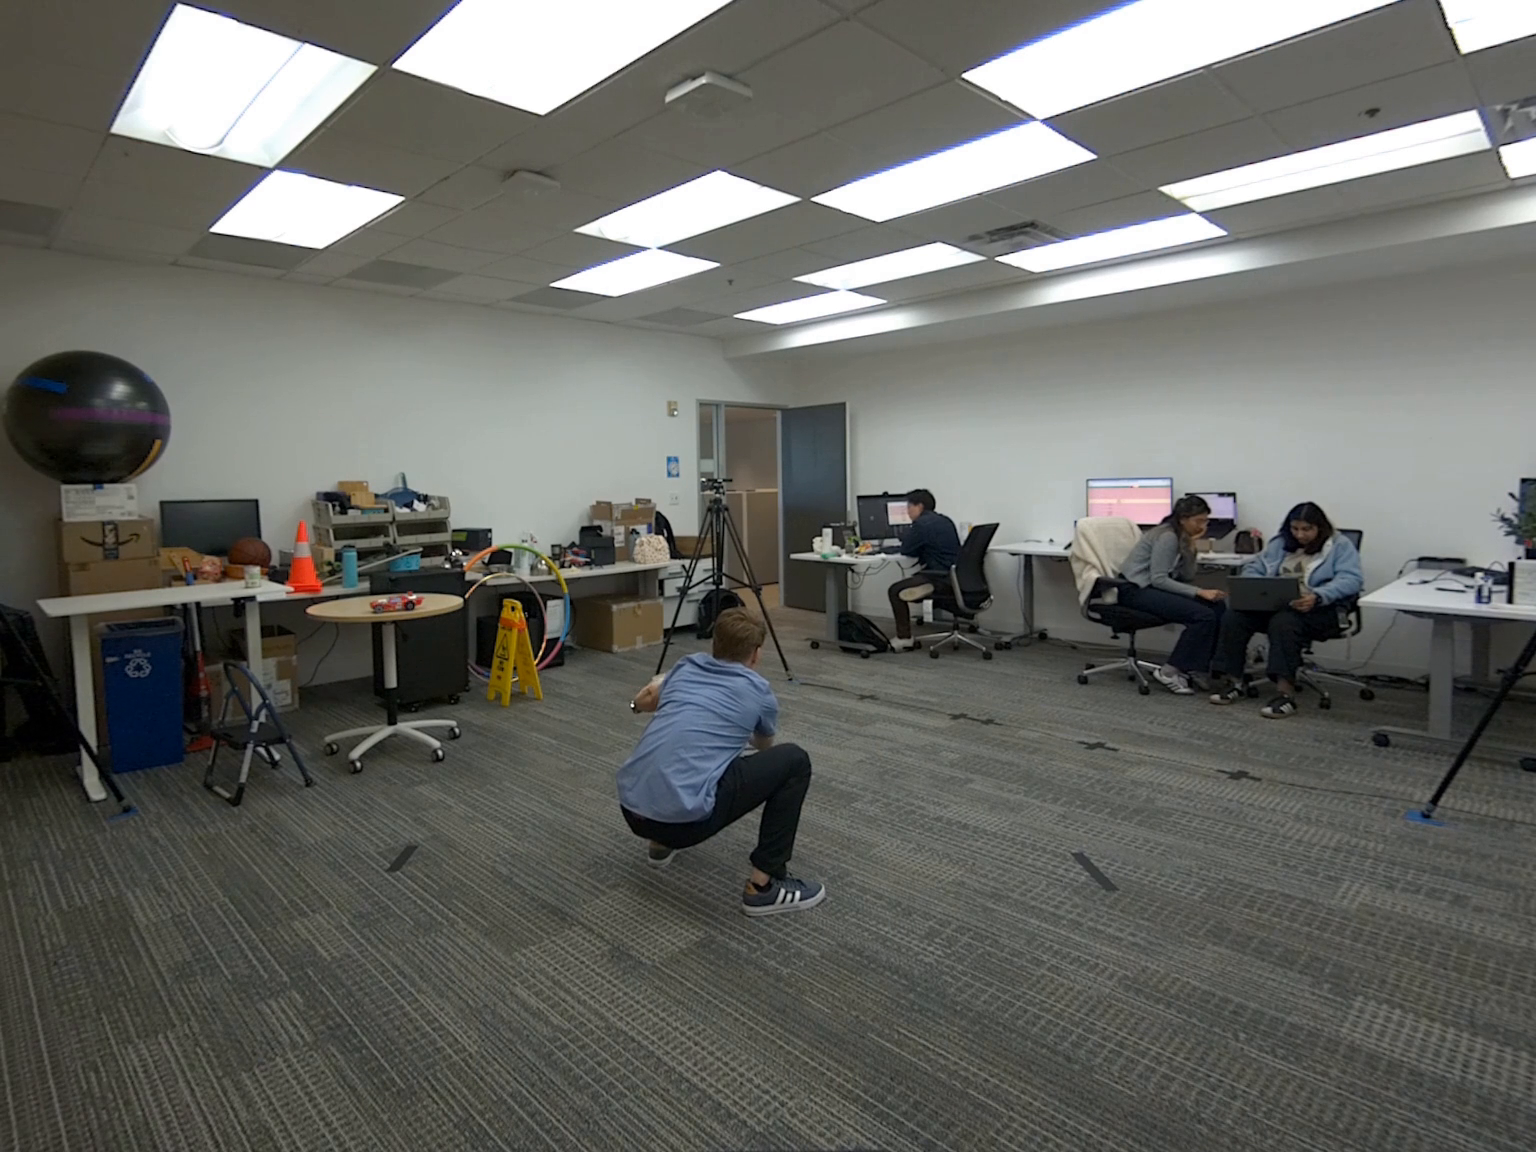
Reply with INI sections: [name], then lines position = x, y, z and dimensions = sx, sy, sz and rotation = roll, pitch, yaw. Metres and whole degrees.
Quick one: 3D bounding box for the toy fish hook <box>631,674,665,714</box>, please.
[toy fish hook]
position = -0.270, 0.489, 3.595
dimensions = 0.516, 0.047, 0.226
rotation = 3, 34, 19
